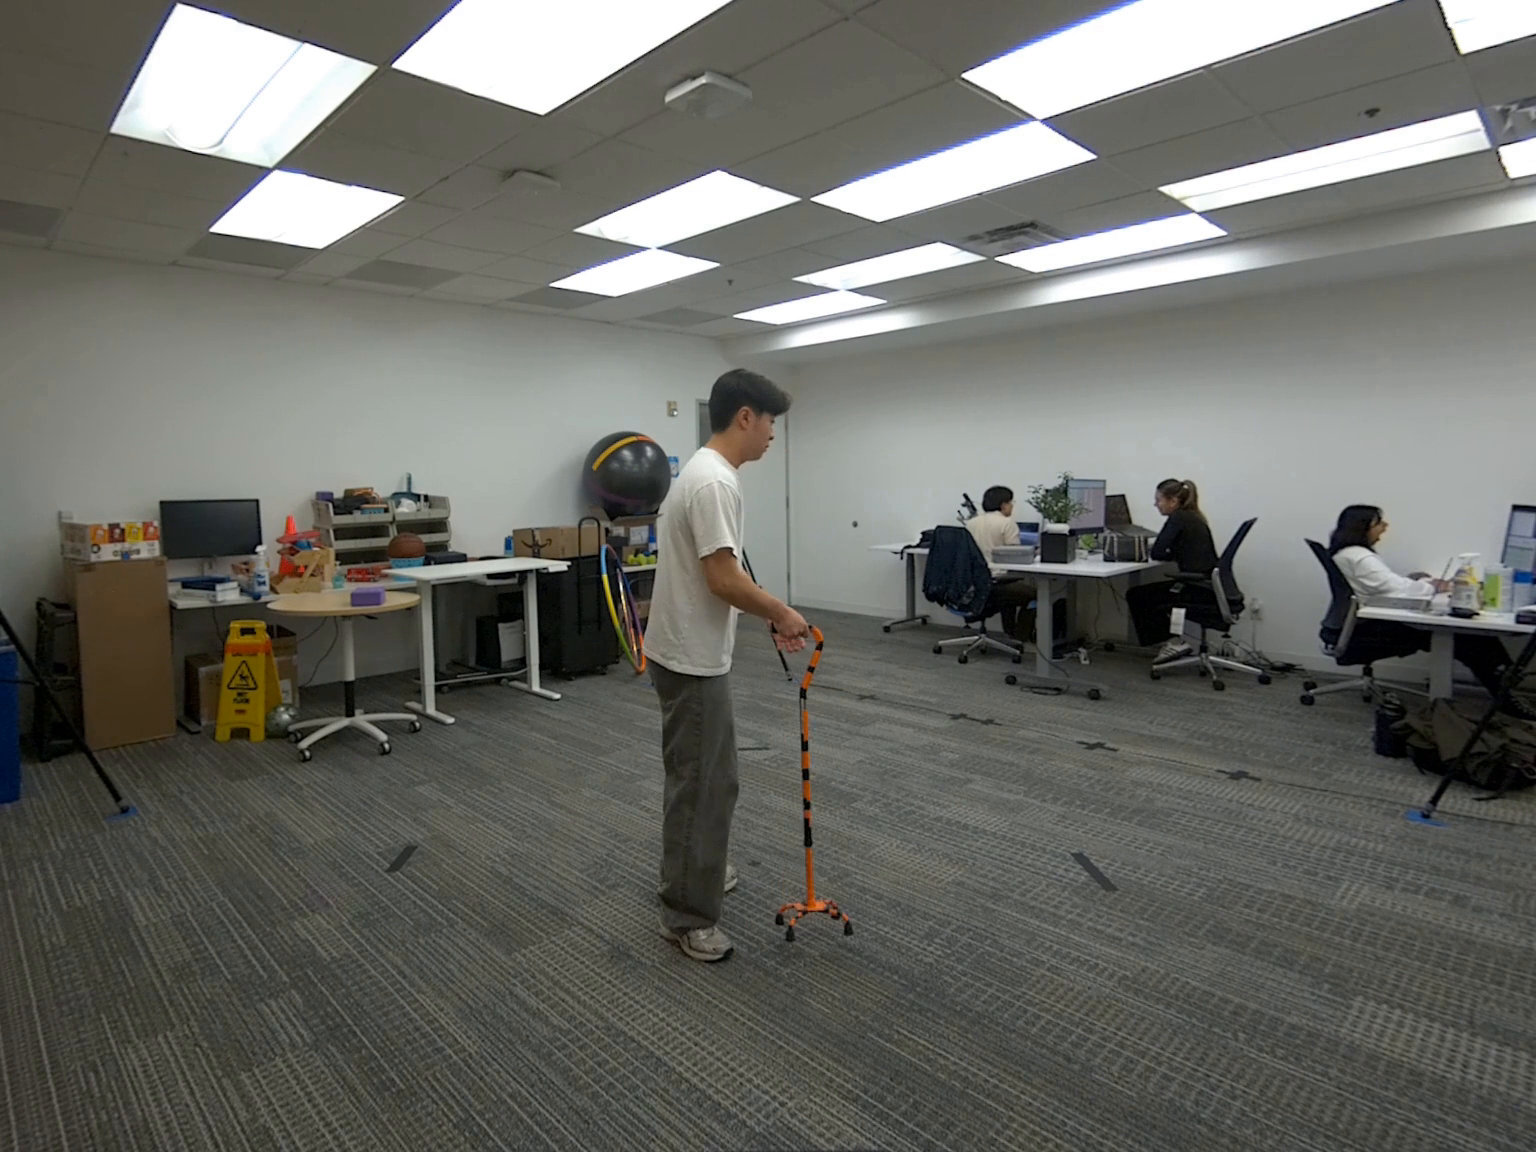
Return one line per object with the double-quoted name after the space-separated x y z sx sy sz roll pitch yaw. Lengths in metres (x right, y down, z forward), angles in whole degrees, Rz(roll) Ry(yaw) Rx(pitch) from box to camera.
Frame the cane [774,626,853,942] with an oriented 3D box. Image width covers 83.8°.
0.118 0.602 2.565 0.204 0.910 0.153 -1 -2 -13 "cane"
